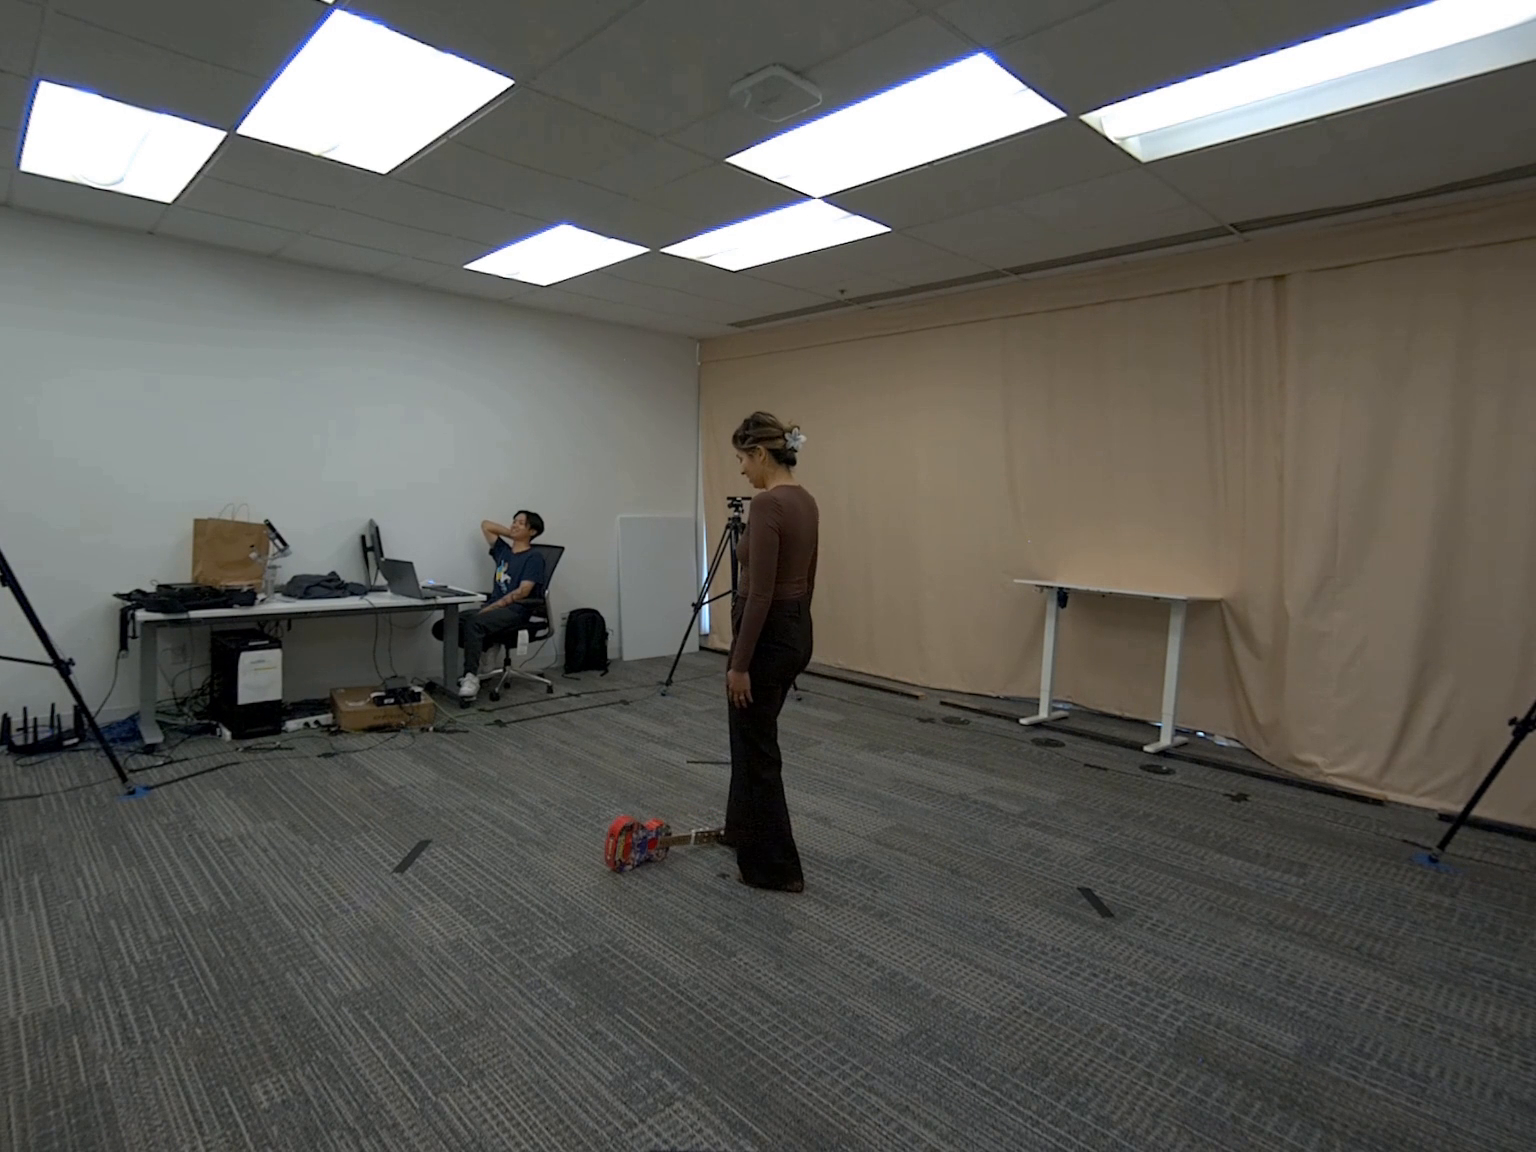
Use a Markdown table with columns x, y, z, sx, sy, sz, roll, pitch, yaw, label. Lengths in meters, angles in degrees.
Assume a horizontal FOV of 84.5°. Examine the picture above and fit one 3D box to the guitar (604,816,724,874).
| x | y | z | sx | sy | sz | roll | pitch | yaw | label |
| --- | --- | --- | --- | --- | --- | --- | --- | --- | --- |
| -0.417 | 1.046 | 3.247 | 0.483 | 0.194 | 0.072 | 21 | -9 | -42 | guitar |
